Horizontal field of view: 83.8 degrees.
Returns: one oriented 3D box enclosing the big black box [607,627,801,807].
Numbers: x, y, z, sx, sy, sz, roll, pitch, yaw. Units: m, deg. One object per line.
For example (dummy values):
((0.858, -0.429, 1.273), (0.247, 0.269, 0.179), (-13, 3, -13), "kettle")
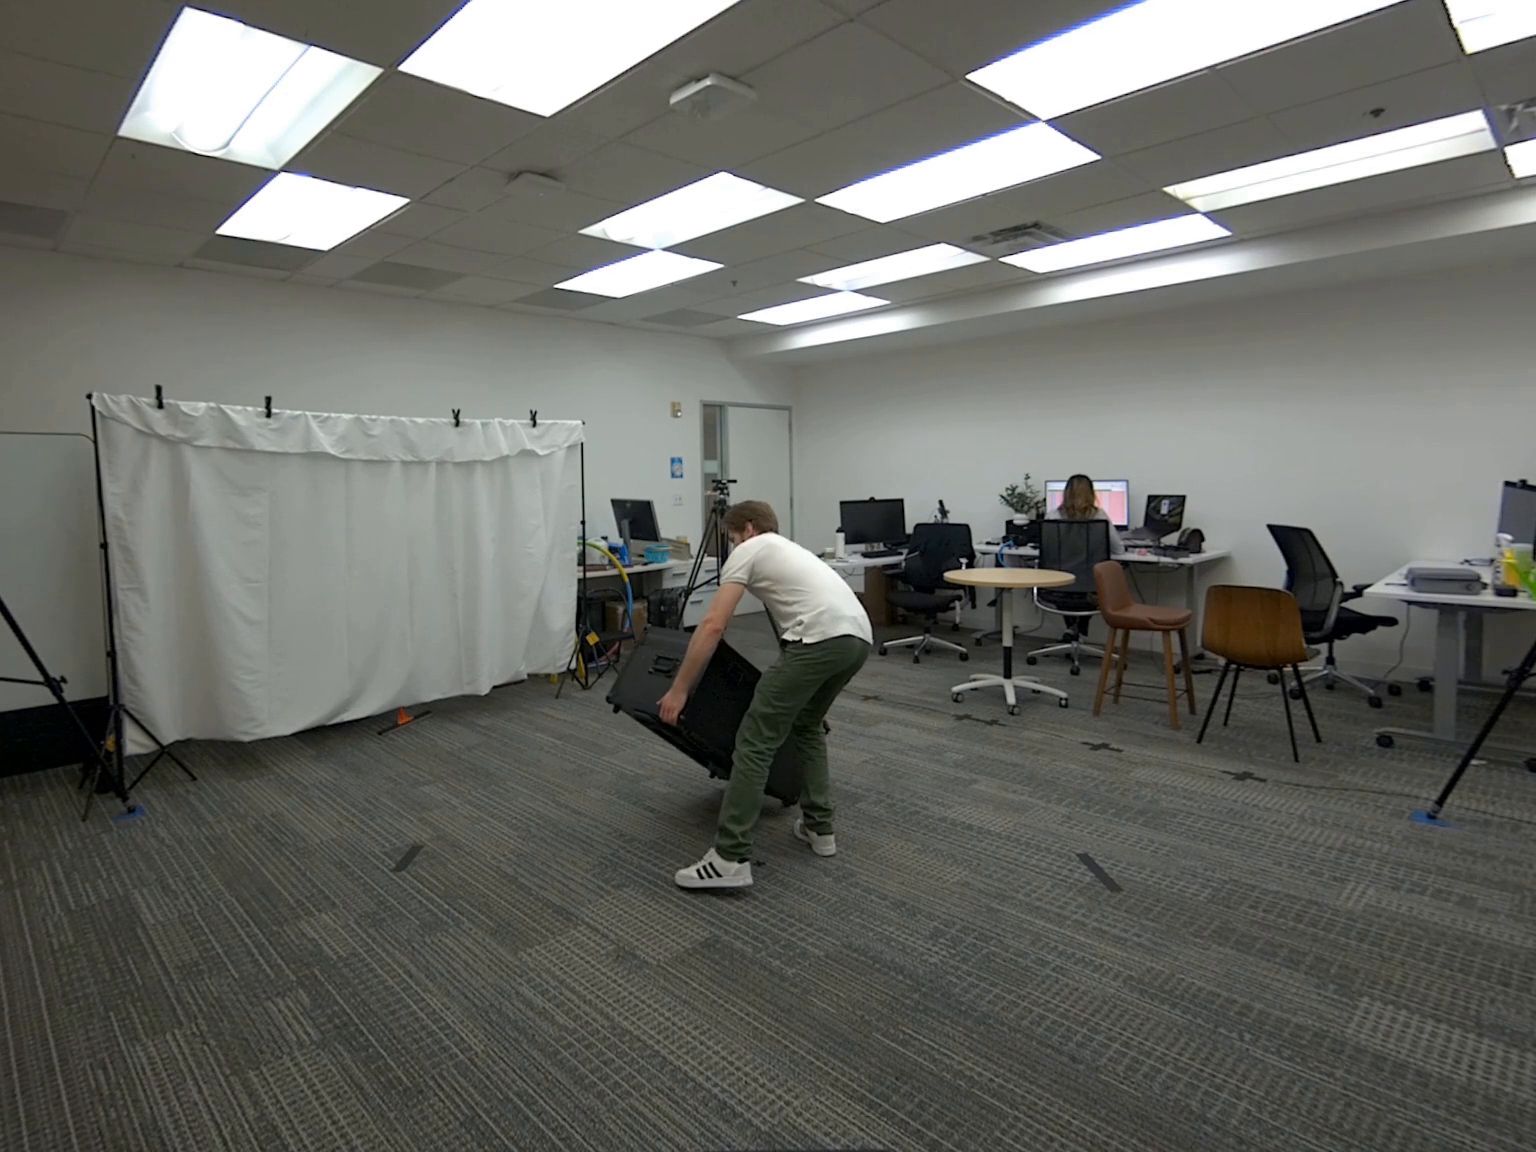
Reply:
((-0.183, 0.606, 3.592), (0.539, 0.388, 0.837), (2, -33, 47), "big black box")
